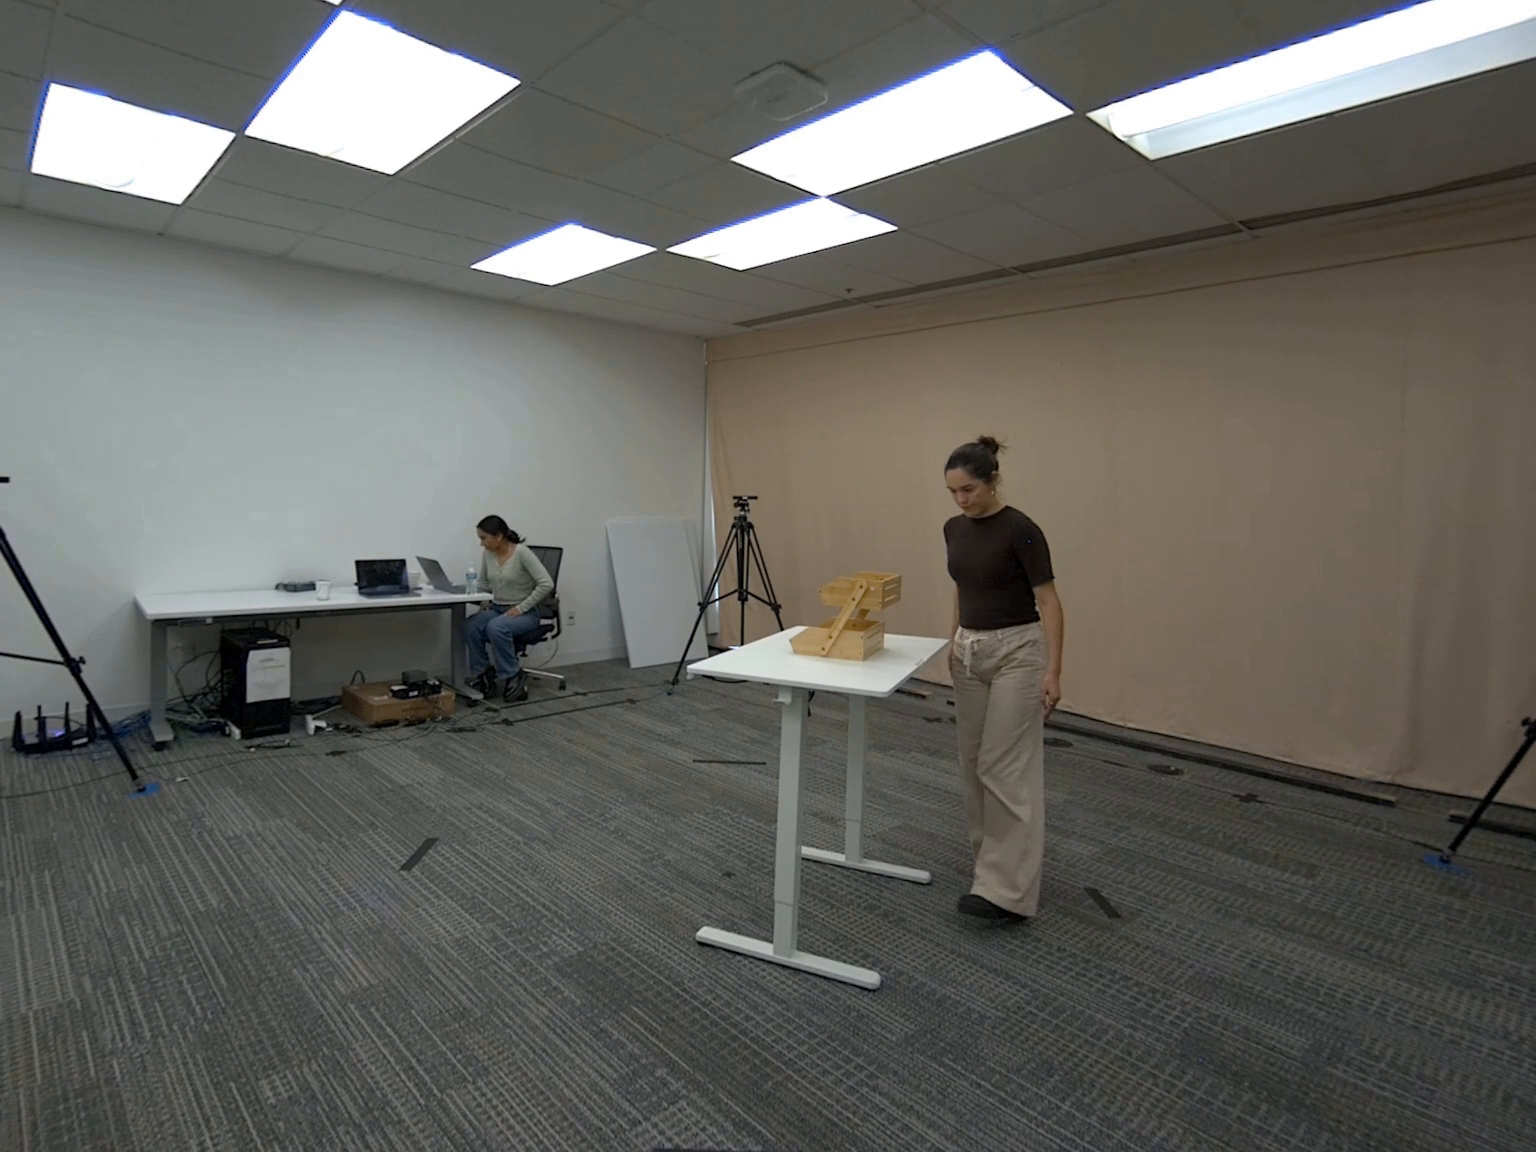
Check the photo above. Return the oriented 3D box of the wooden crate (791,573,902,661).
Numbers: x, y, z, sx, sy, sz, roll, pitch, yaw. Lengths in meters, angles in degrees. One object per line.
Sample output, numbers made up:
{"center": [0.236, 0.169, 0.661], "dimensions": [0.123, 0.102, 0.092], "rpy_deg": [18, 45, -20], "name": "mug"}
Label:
{"center": [0.258, 0.124, 2.835], "dimensions": [0.307, 0.272, 0.320], "rpy_deg": [4, 5, 20], "name": "wooden crate"}
